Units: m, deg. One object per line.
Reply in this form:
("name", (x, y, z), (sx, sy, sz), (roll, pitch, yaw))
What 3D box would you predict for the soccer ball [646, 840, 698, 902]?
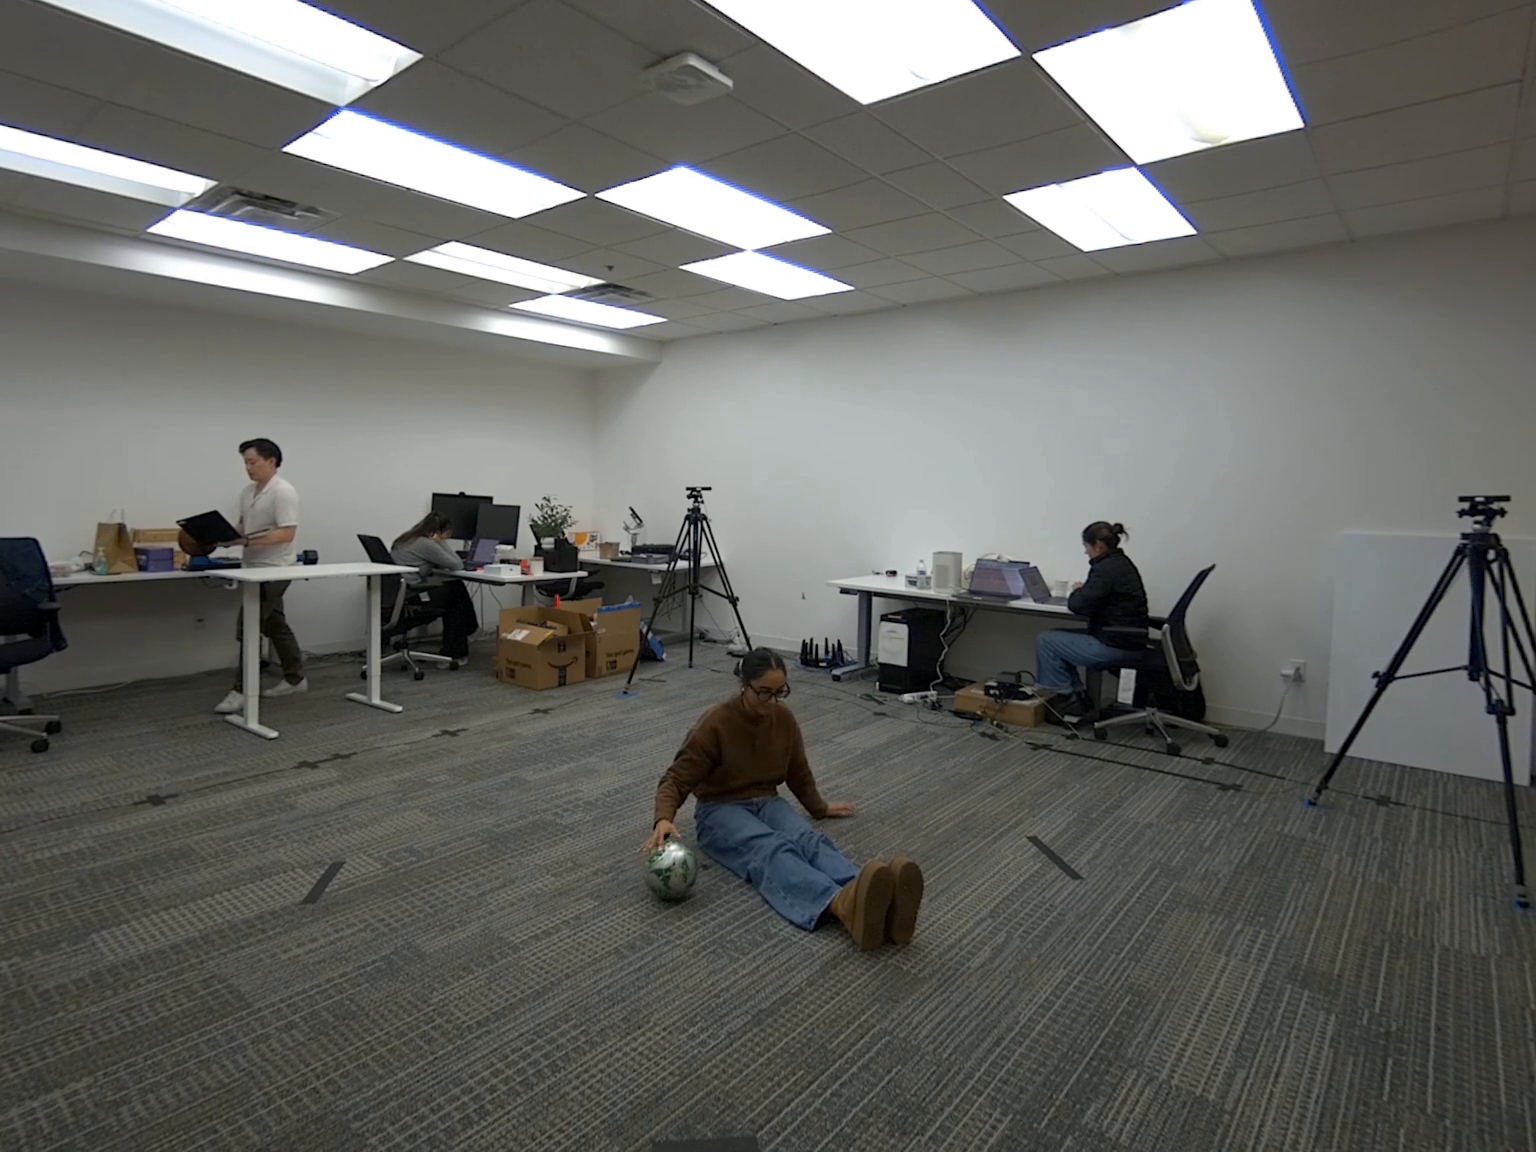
("soccer ball", (-0.338, 0.992, 2.883), (0.187, 0.187, 0.188), (1, 4, -2))
